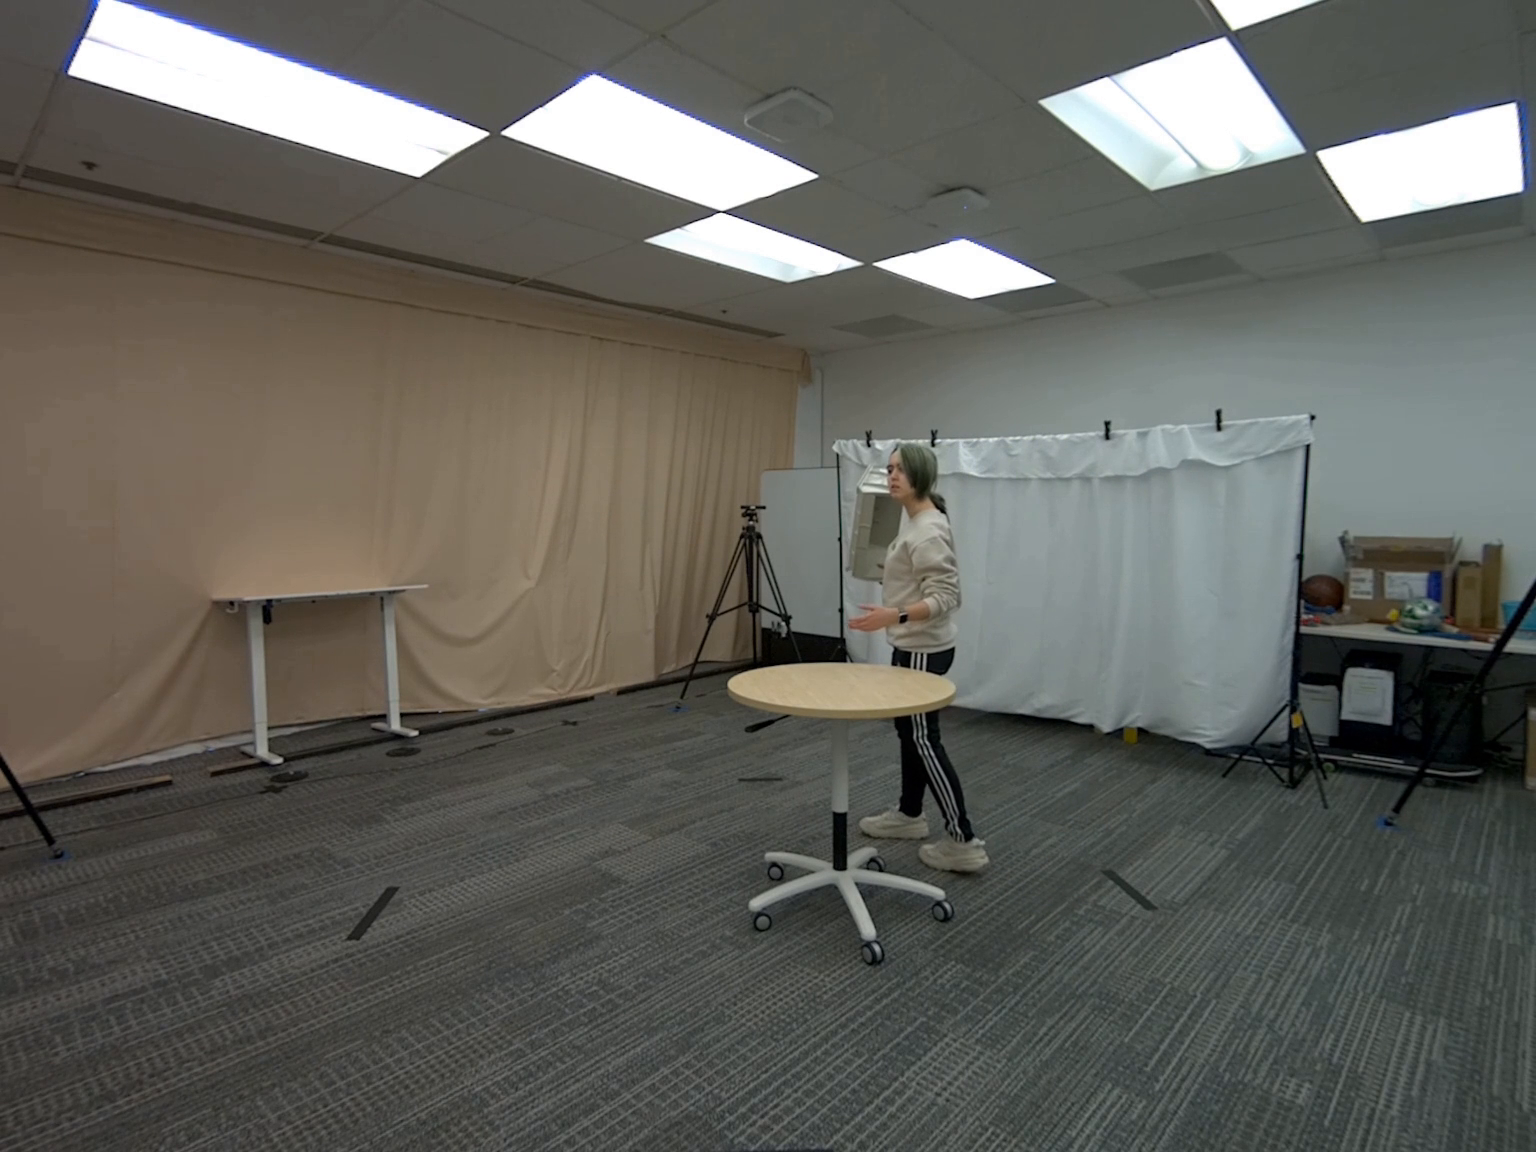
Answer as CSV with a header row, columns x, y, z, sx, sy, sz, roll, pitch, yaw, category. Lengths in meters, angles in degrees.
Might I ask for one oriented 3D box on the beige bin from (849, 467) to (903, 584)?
x,y,z,sx,sy,sz,roll,pitch,yaw,category
0.493,-0.239,3.760,0.192,0.417,0.376,11,27,12,beige bin
